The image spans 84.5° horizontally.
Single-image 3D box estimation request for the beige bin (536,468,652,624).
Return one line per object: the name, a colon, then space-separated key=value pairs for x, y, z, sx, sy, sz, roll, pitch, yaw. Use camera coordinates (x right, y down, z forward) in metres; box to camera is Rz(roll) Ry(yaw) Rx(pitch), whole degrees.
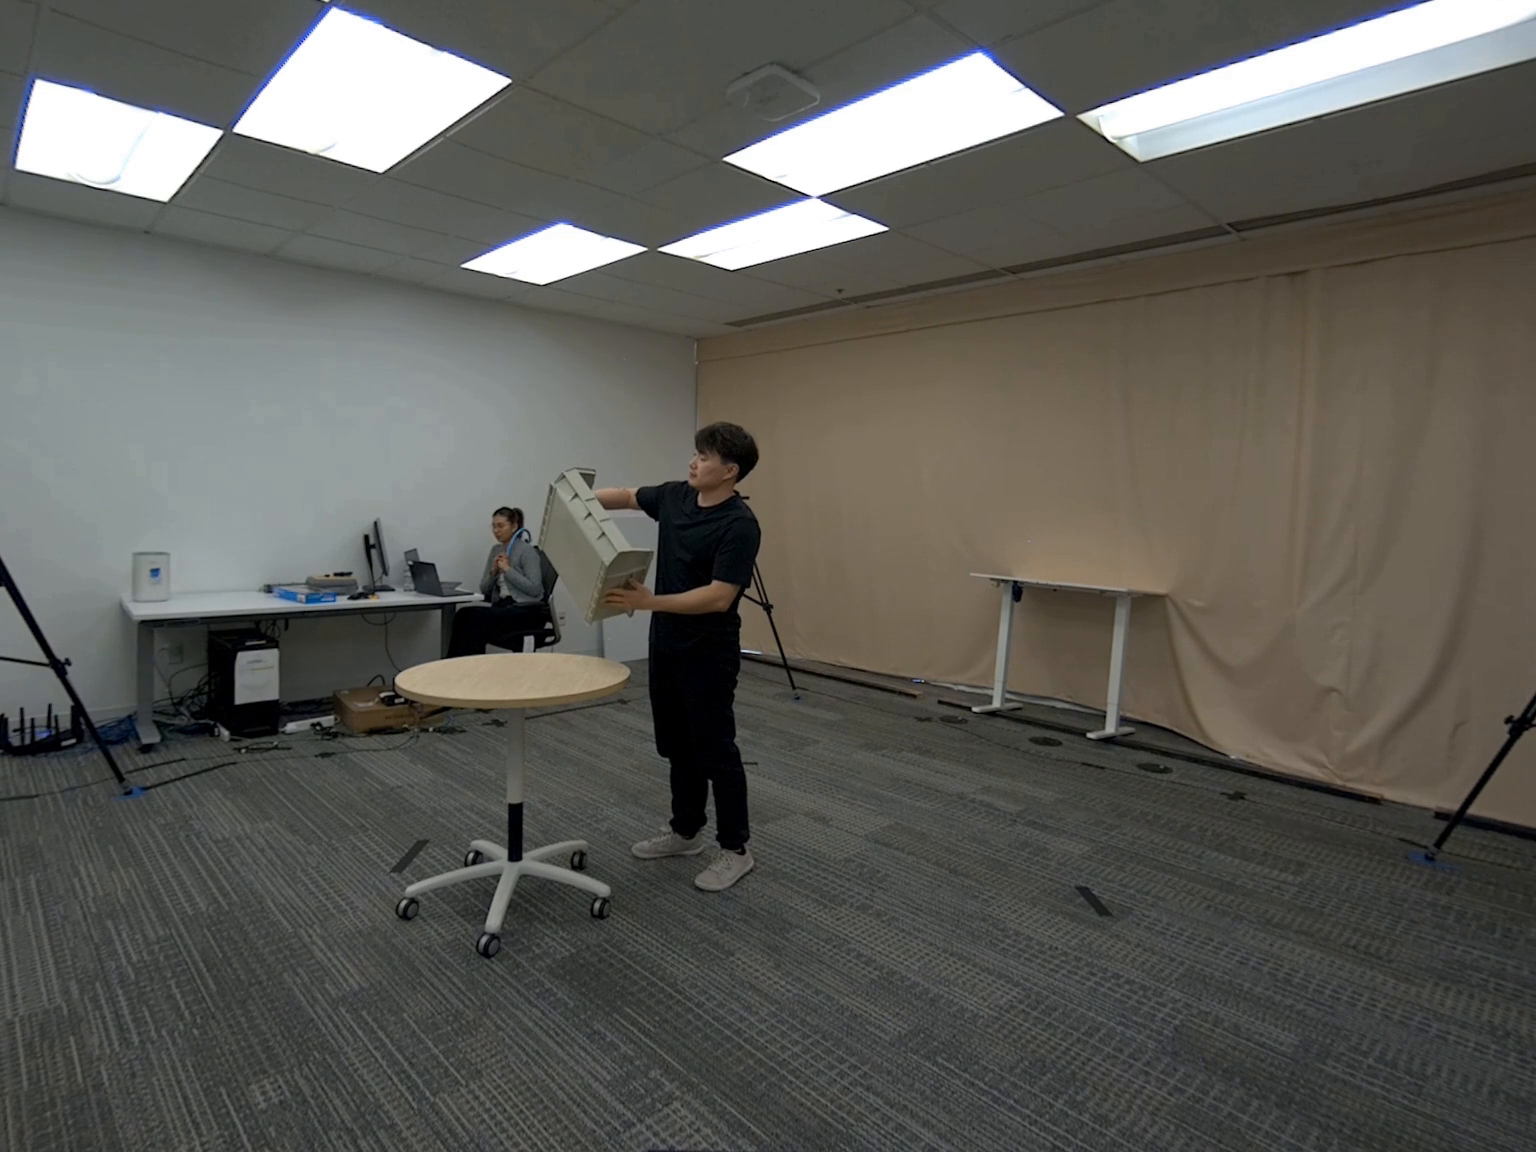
beige bin: x=-0.614 y=-0.103 z=2.939 sx=0.186 sy=0.373 sz=0.433 roll=-16 pitch=55 yaw=-38
